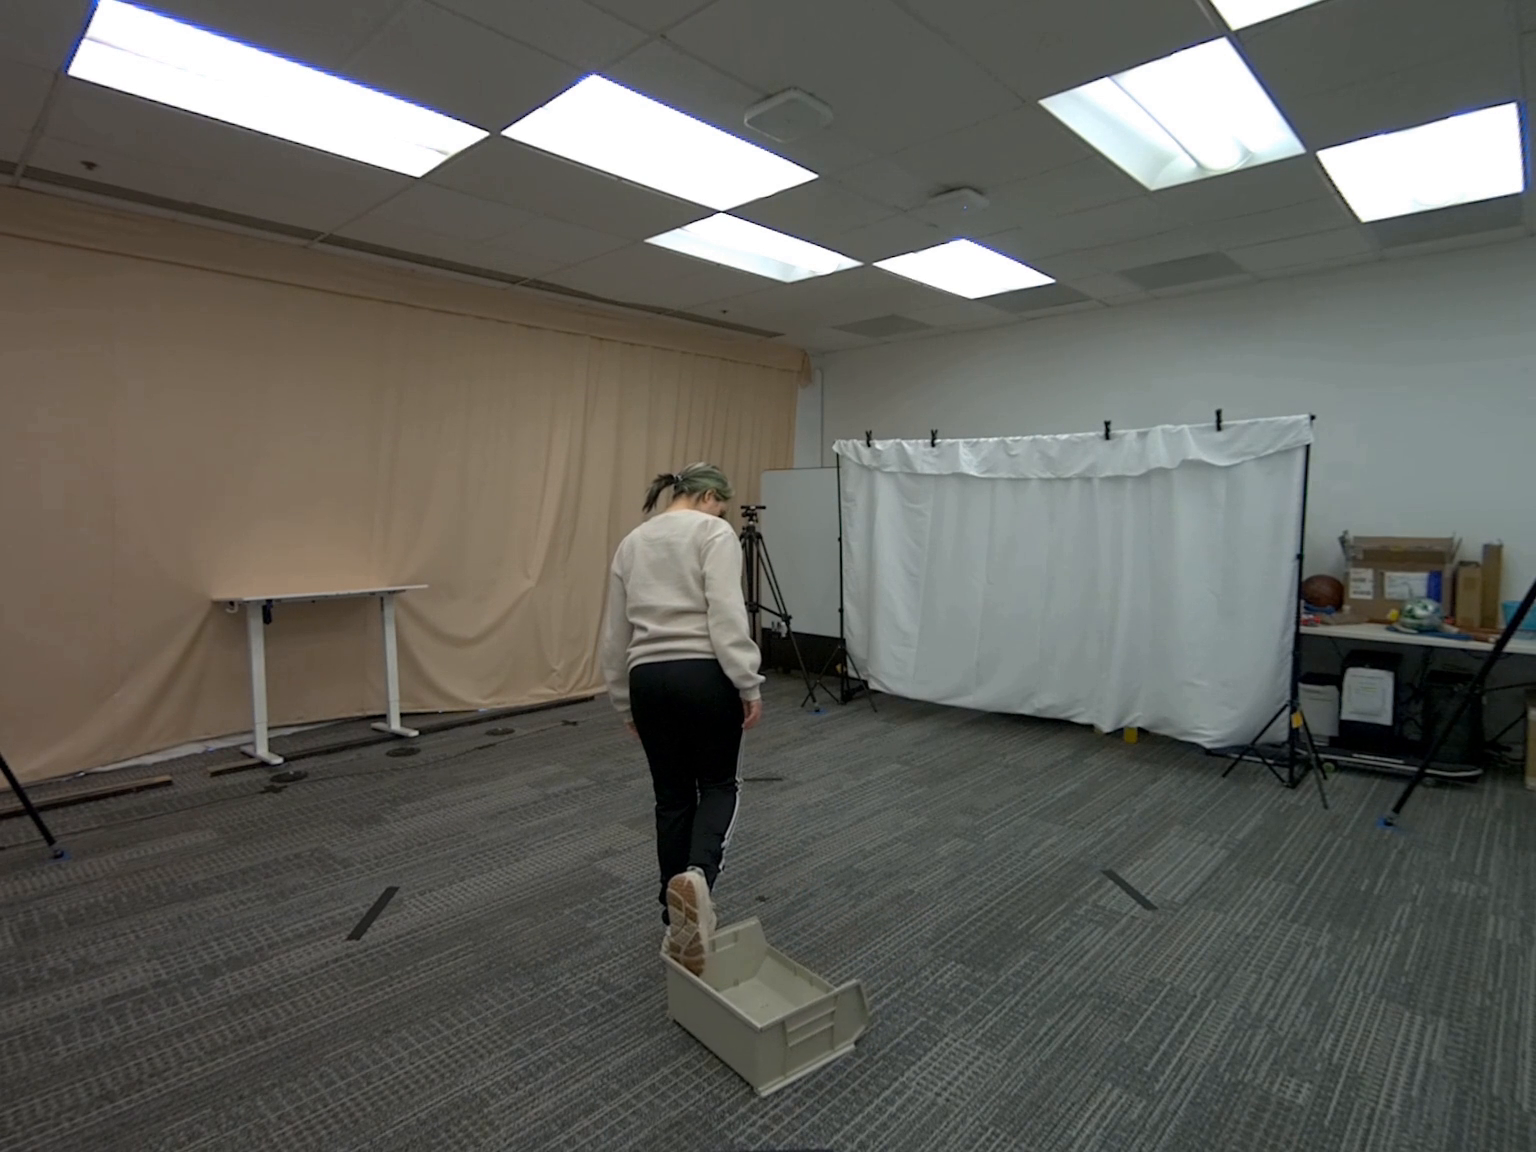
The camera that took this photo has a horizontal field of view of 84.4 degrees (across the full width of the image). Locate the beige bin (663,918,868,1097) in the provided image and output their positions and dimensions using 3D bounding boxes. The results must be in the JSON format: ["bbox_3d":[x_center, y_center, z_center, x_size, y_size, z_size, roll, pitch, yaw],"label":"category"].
[{"bbox_3d":[-0.008,1.118,2.233,0.366,0.188,0.436,-6,7,-38],"label":"beige bin"}]
